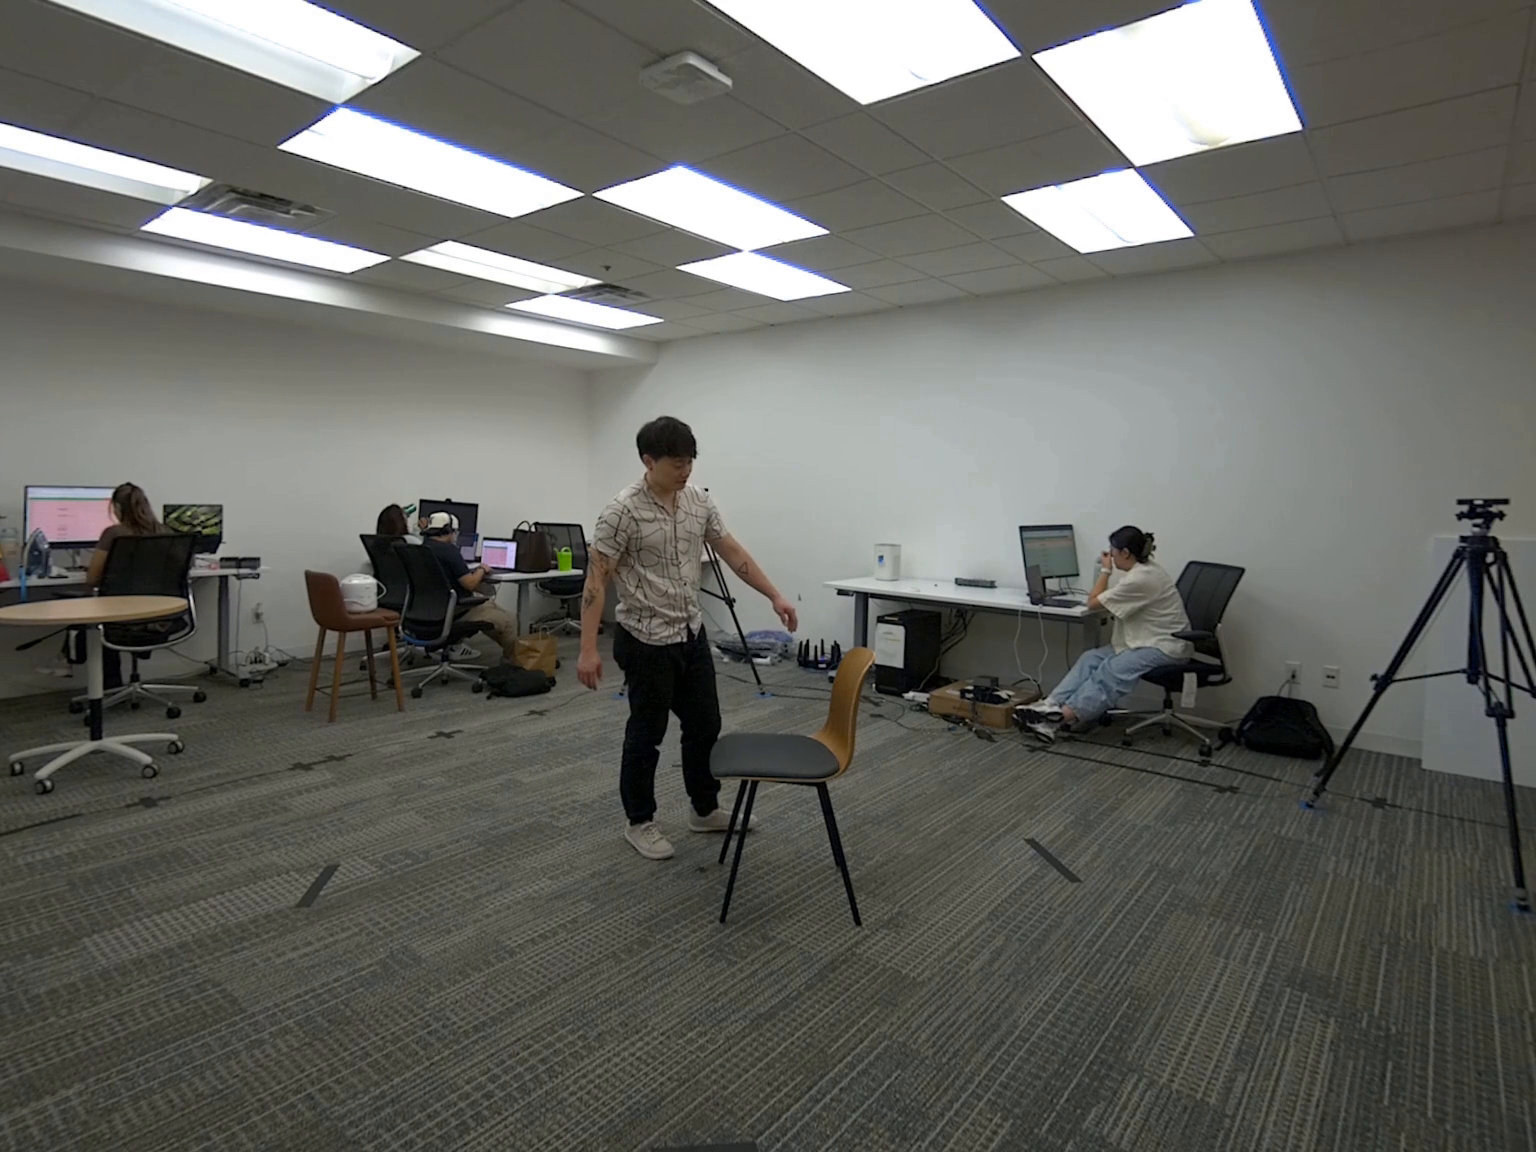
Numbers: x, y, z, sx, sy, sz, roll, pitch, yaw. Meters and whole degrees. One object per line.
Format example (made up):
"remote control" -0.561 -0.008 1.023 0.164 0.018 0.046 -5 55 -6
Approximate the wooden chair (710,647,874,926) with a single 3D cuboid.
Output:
"wooden chair" 0.054 0.664 2.915 0.522 0.875 0.480 6 4 -2
